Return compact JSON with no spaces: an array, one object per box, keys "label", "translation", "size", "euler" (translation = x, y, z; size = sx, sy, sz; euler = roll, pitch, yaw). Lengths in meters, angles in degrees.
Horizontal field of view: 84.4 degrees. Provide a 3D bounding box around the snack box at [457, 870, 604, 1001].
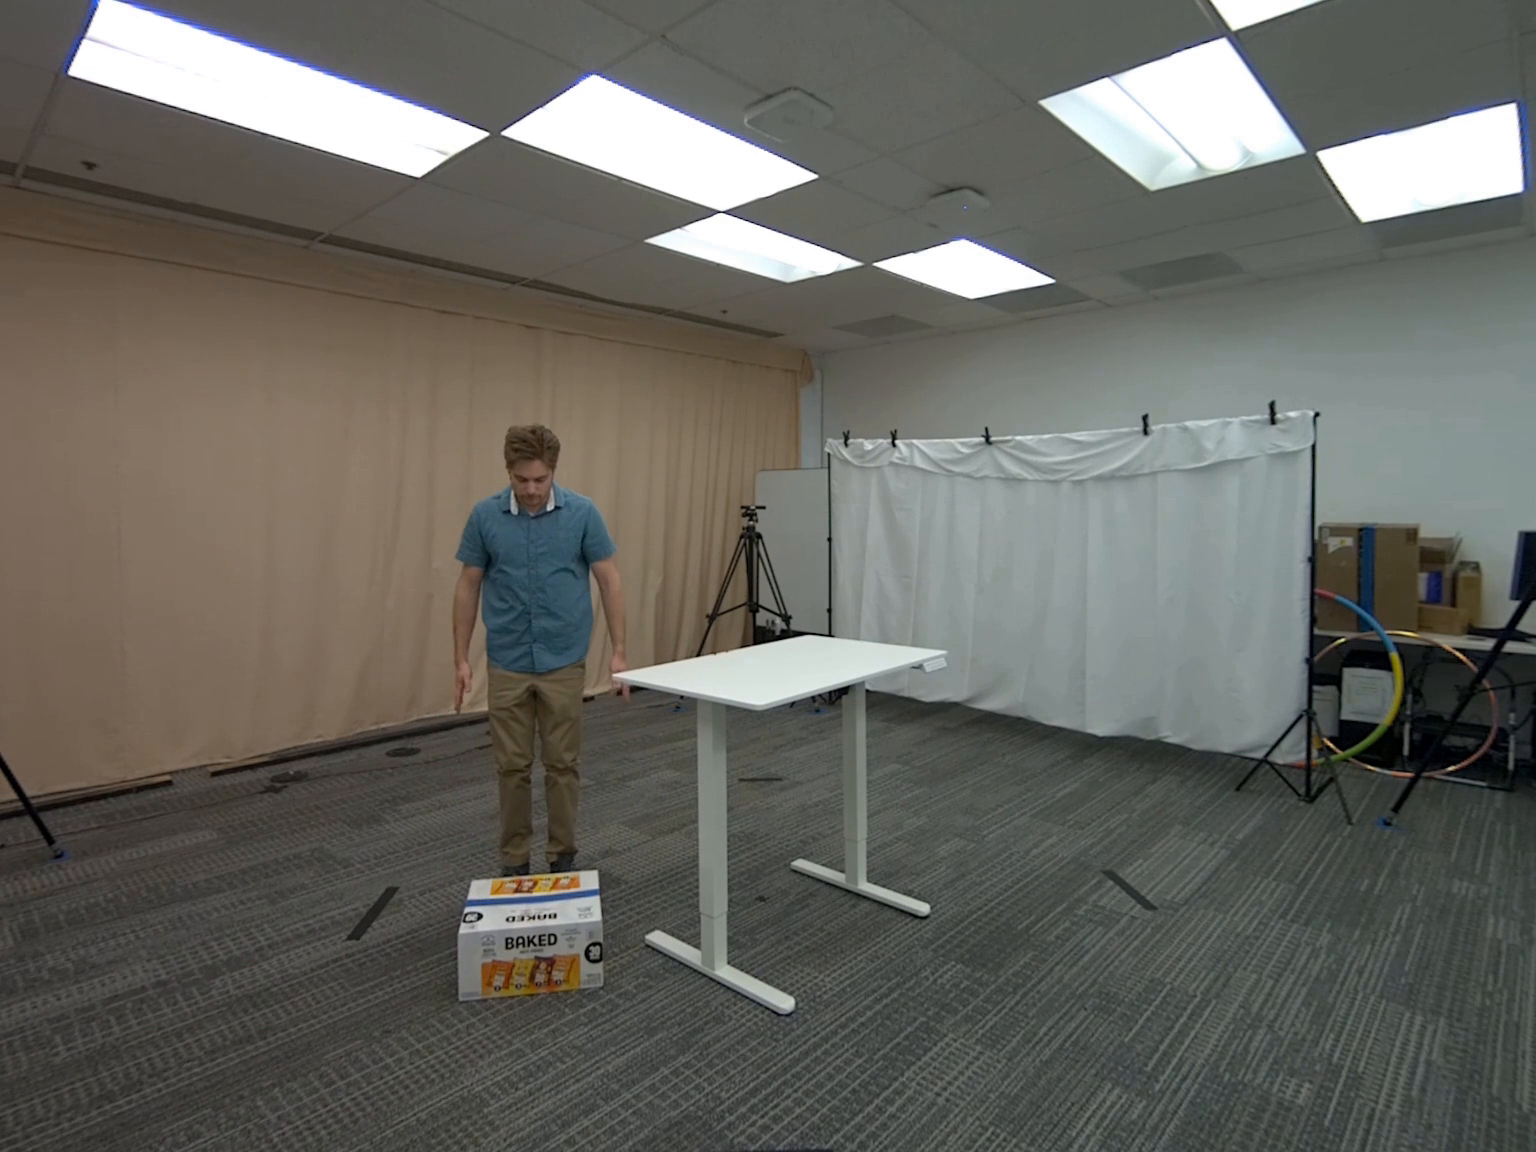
[{"label":"snack box","translation":[-0.709,1.086,2.556],"size":[0.400,0.205,0.345],"euler":[-1,4,-12]}]
